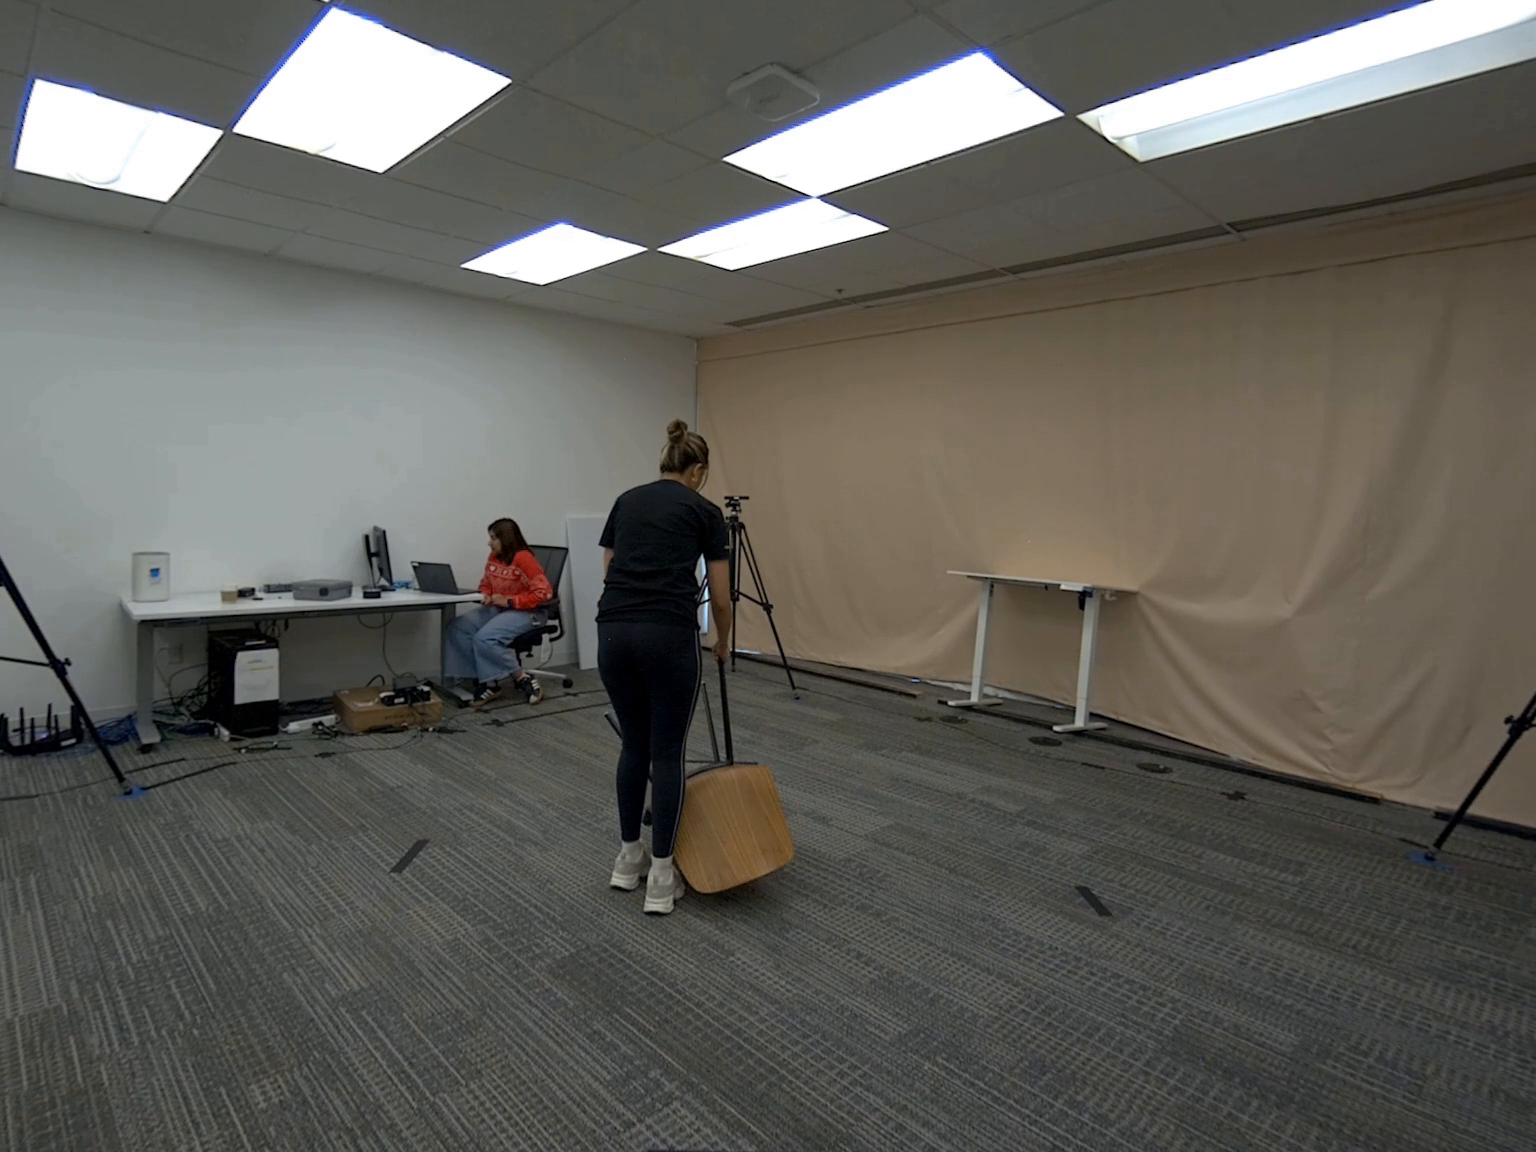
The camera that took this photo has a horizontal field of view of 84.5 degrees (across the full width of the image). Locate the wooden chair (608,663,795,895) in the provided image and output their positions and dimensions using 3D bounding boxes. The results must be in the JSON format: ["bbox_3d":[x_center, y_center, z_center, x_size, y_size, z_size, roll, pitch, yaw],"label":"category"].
[{"bbox_3d":[-0.268,0.792,3.228,0.473,0.899,0.516,-16,-28,-20],"label":"wooden chair"}]
